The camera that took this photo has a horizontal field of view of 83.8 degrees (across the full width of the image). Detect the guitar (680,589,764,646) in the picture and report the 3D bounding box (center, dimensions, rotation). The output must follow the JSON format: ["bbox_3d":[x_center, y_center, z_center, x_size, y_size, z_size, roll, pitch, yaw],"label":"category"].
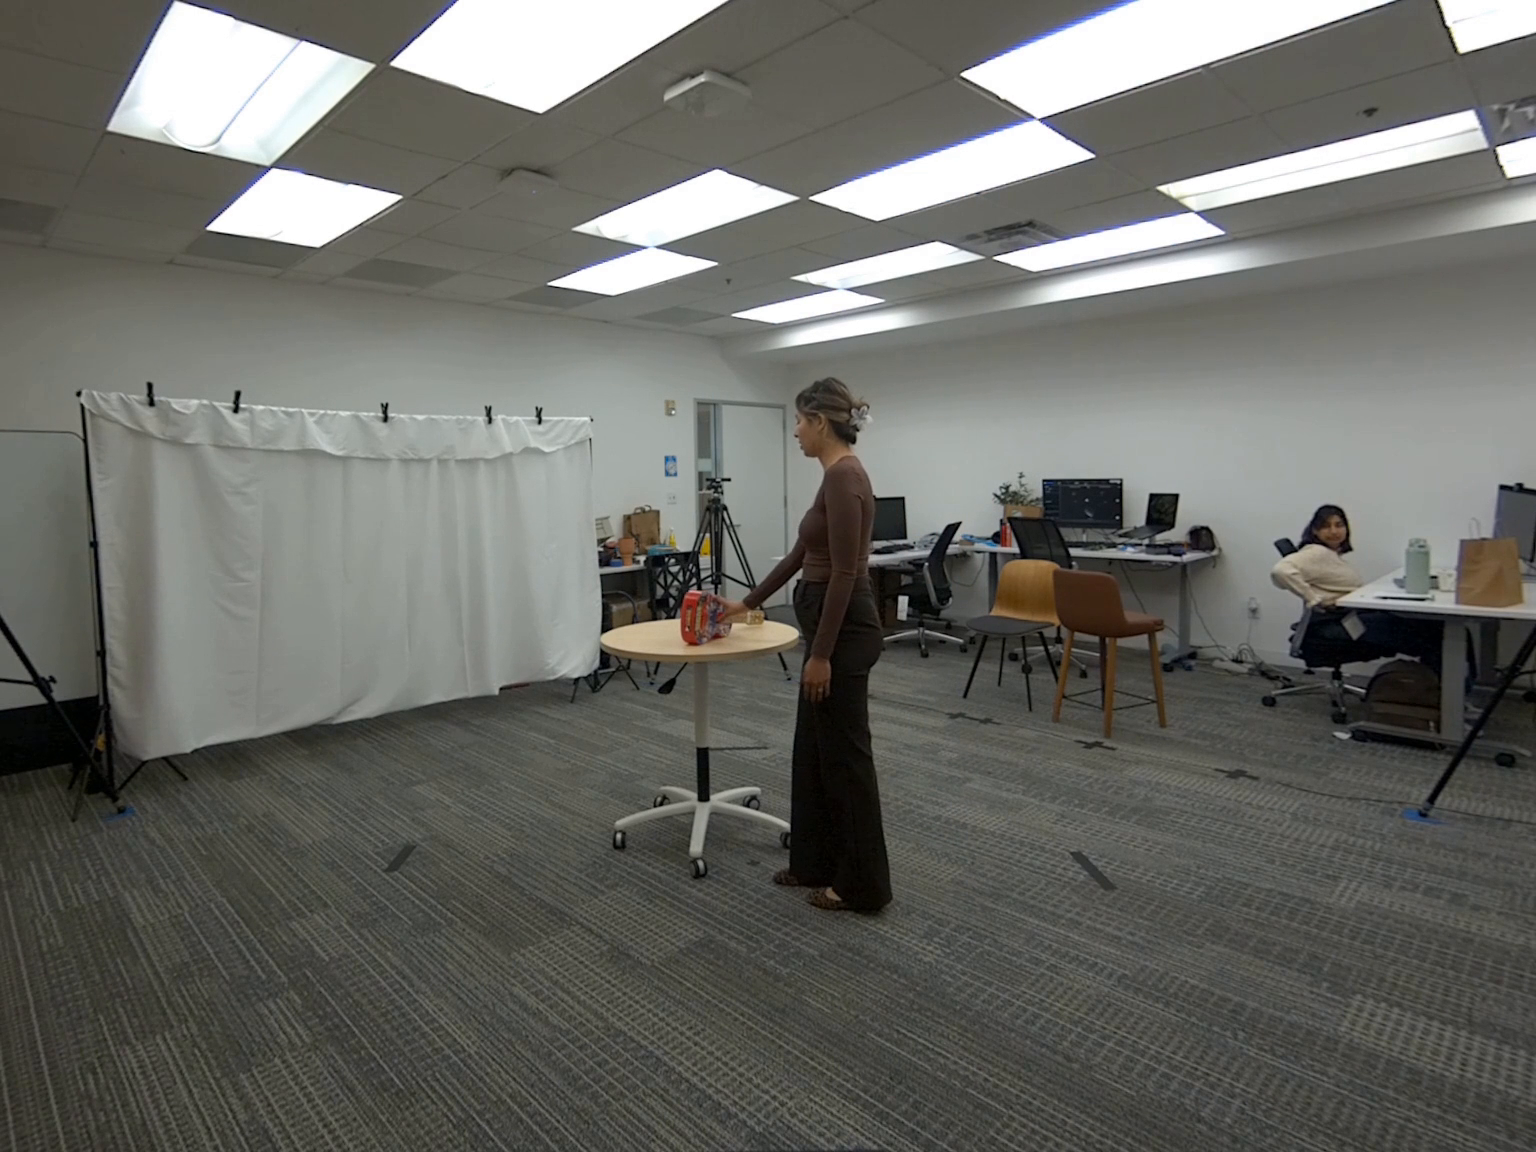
[{"bbox_3d":[-0.165,0.186,3.267,0.072,0.194,0.481,1,-11,31],"label":"guitar"}]
